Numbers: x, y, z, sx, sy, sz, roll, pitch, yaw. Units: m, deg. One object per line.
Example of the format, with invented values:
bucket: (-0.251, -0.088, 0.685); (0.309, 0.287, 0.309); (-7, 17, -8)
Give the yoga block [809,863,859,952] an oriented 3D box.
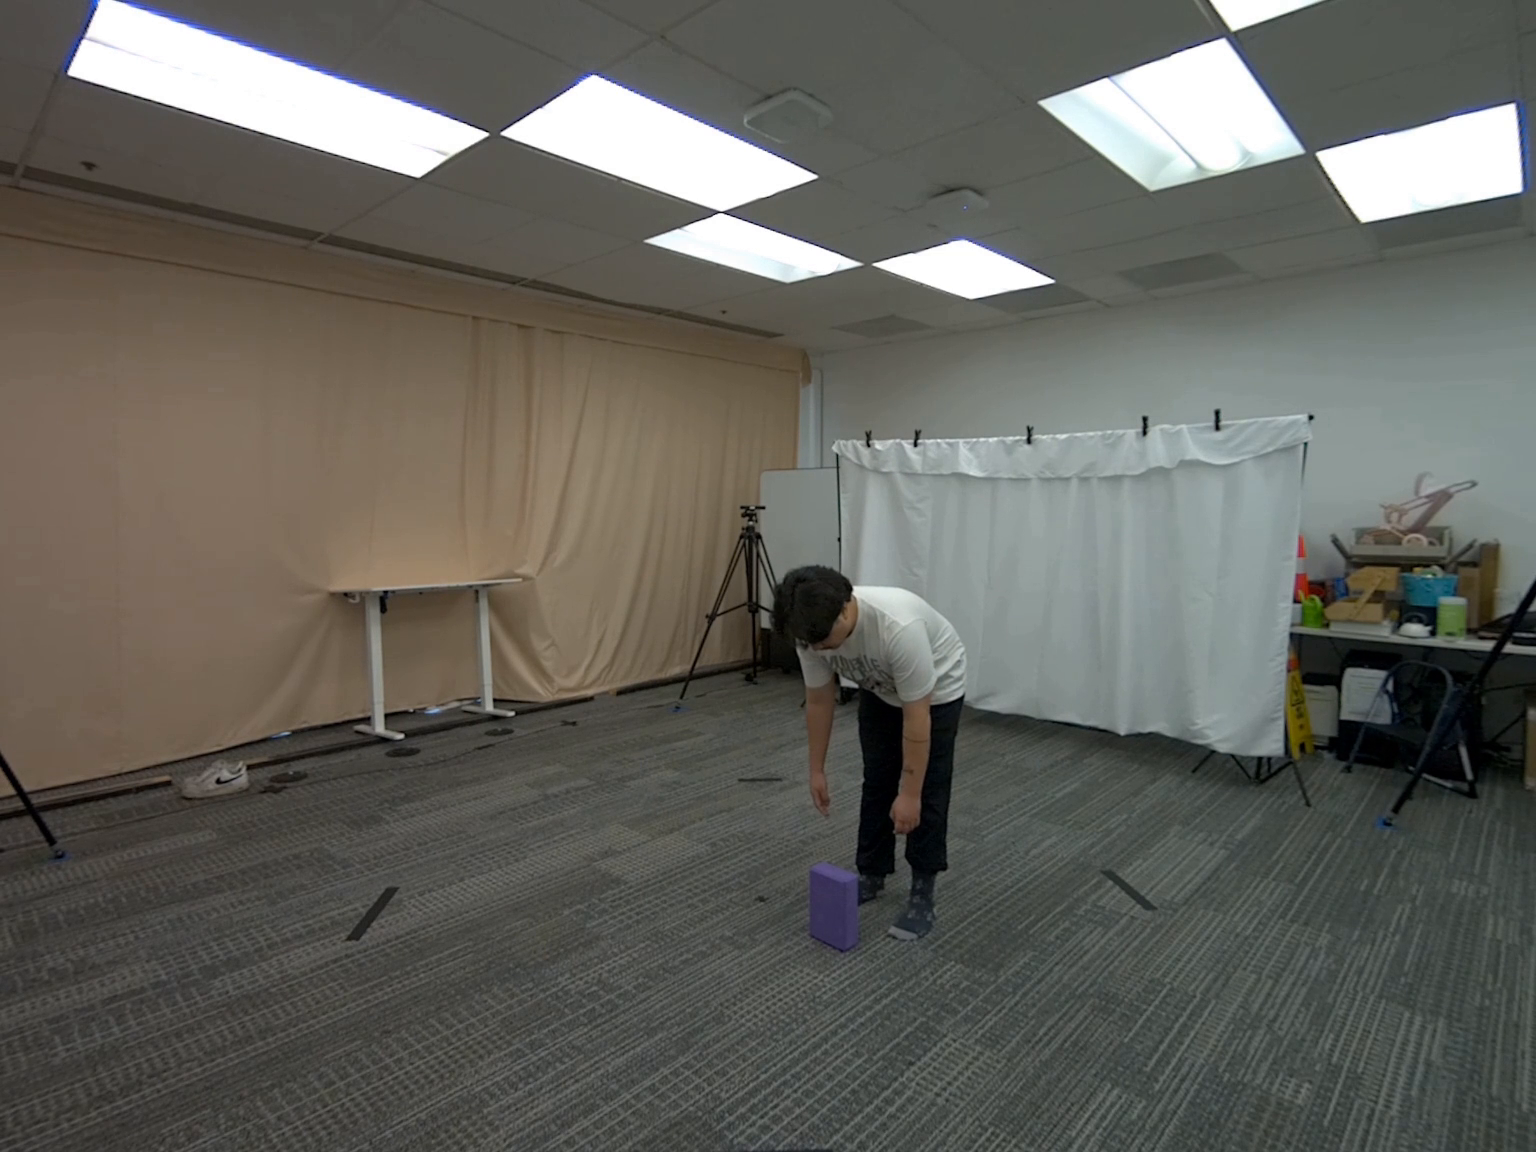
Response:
yoga block: (0.215, 1.055, 2.689); (0.154, 0.229, 0.074); (4, 4, 44)
